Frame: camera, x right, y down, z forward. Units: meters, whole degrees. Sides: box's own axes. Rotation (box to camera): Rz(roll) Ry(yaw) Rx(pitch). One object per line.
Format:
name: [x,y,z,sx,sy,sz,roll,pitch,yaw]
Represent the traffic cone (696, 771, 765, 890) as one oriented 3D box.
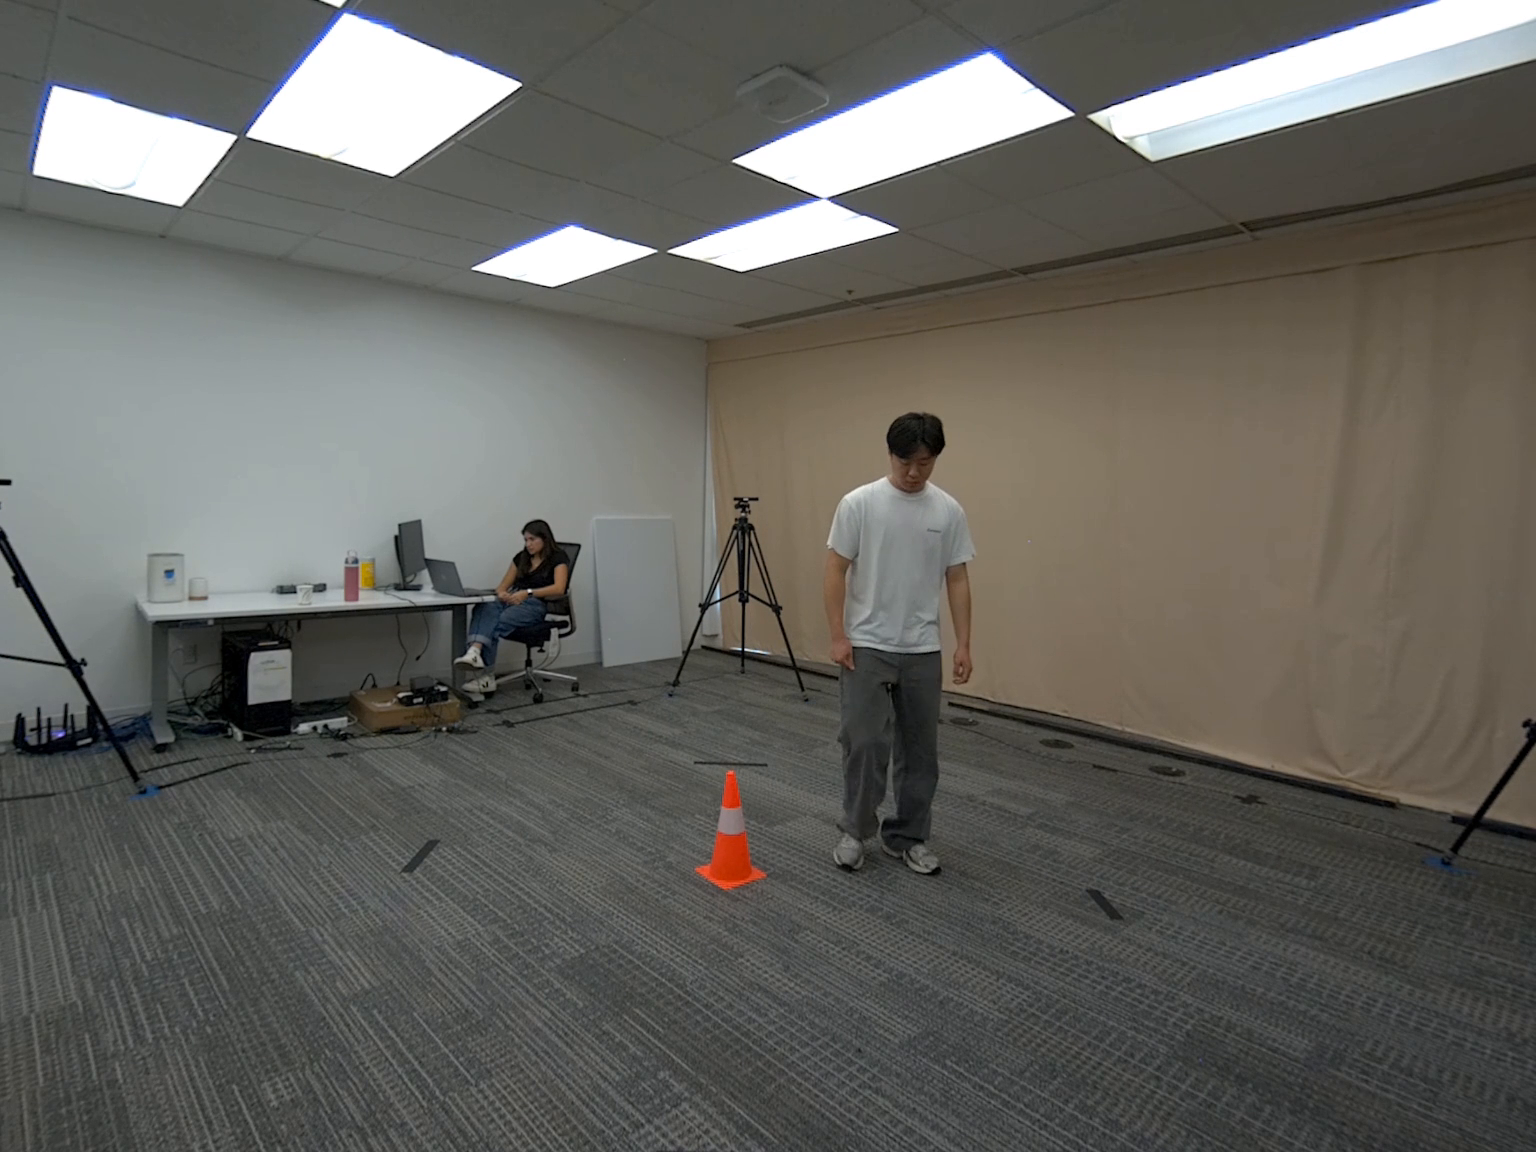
traffic cone: [-0.140,0.921,3.113,0.210,0.382,0.199,6,7,45]
